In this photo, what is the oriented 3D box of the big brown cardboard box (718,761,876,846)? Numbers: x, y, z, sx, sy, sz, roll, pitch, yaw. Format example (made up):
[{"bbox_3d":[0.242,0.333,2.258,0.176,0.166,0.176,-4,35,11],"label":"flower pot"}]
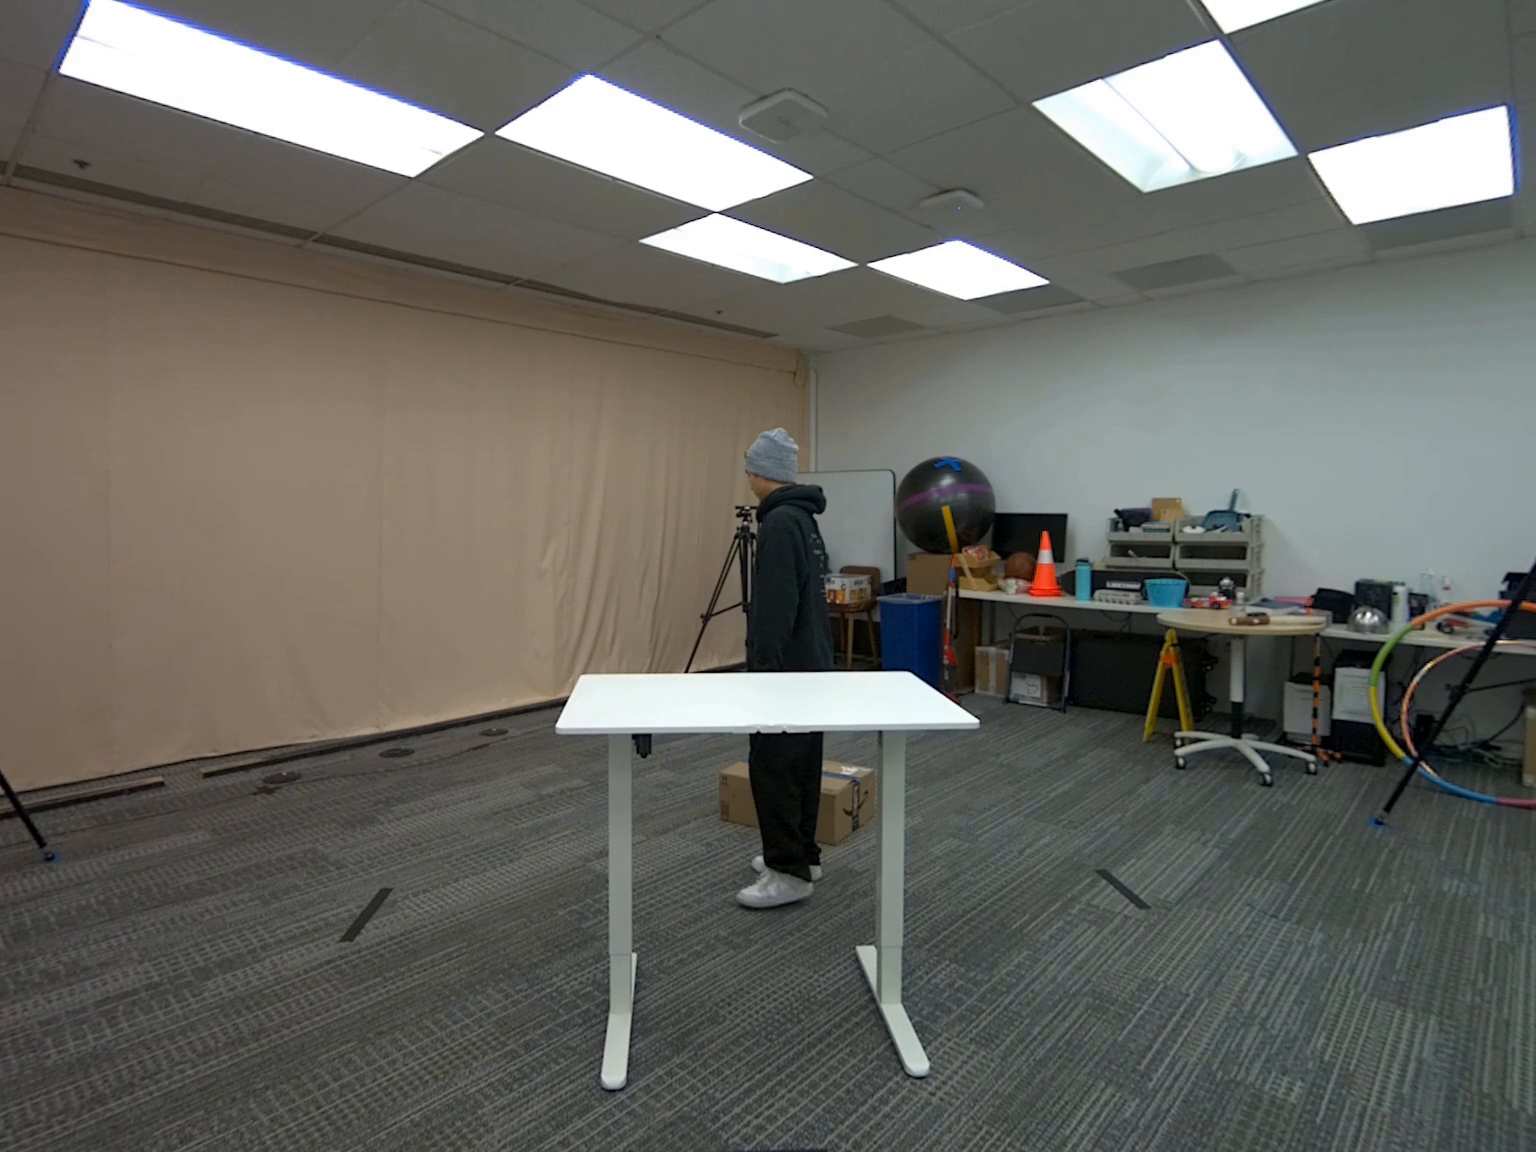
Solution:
[{"bbox_3d":[0.136,0.969,3.755,0.606,0.233,0.406,2,4,31],"label":"big brown cardboard box"}]
